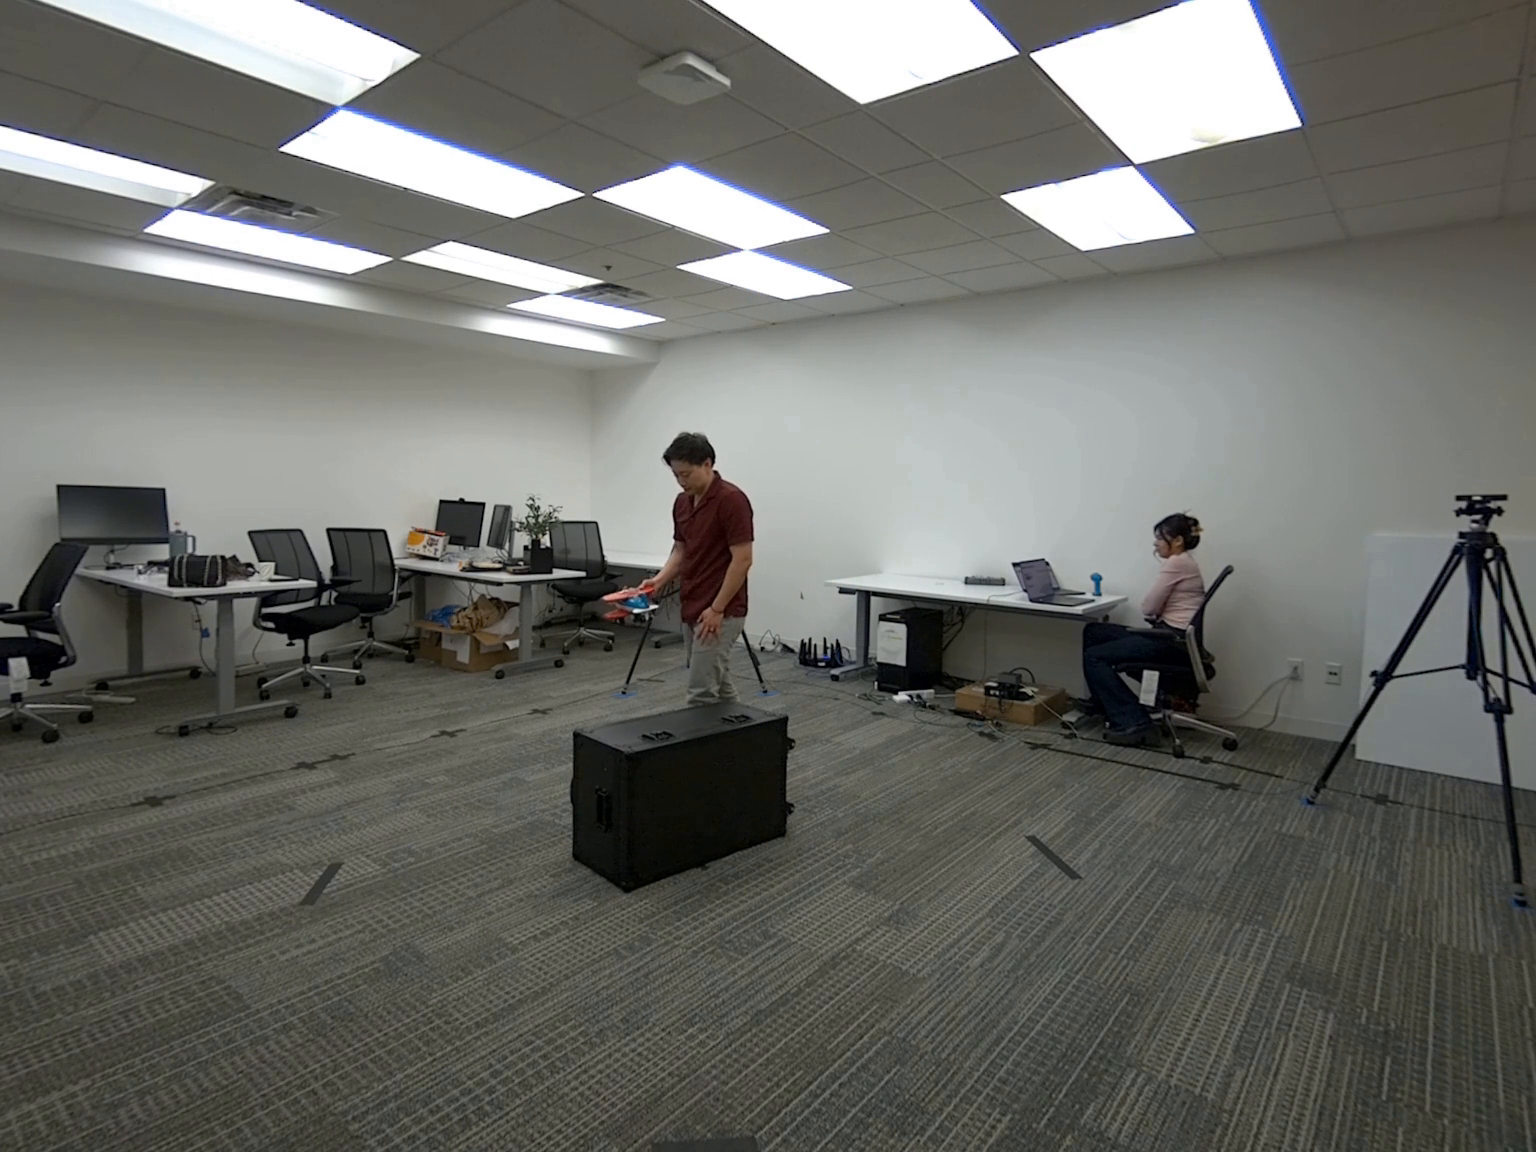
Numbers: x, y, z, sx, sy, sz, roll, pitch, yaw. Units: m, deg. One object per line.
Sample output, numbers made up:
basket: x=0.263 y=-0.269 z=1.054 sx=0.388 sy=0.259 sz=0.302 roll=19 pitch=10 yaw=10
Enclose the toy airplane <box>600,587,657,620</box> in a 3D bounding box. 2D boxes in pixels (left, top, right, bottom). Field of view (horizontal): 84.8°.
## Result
toy airplane: x=-0.611 y=0.131 z=3.818 sx=0.265 sy=0.157 sz=0.245 roll=-12 pitch=-1 yaw=30
